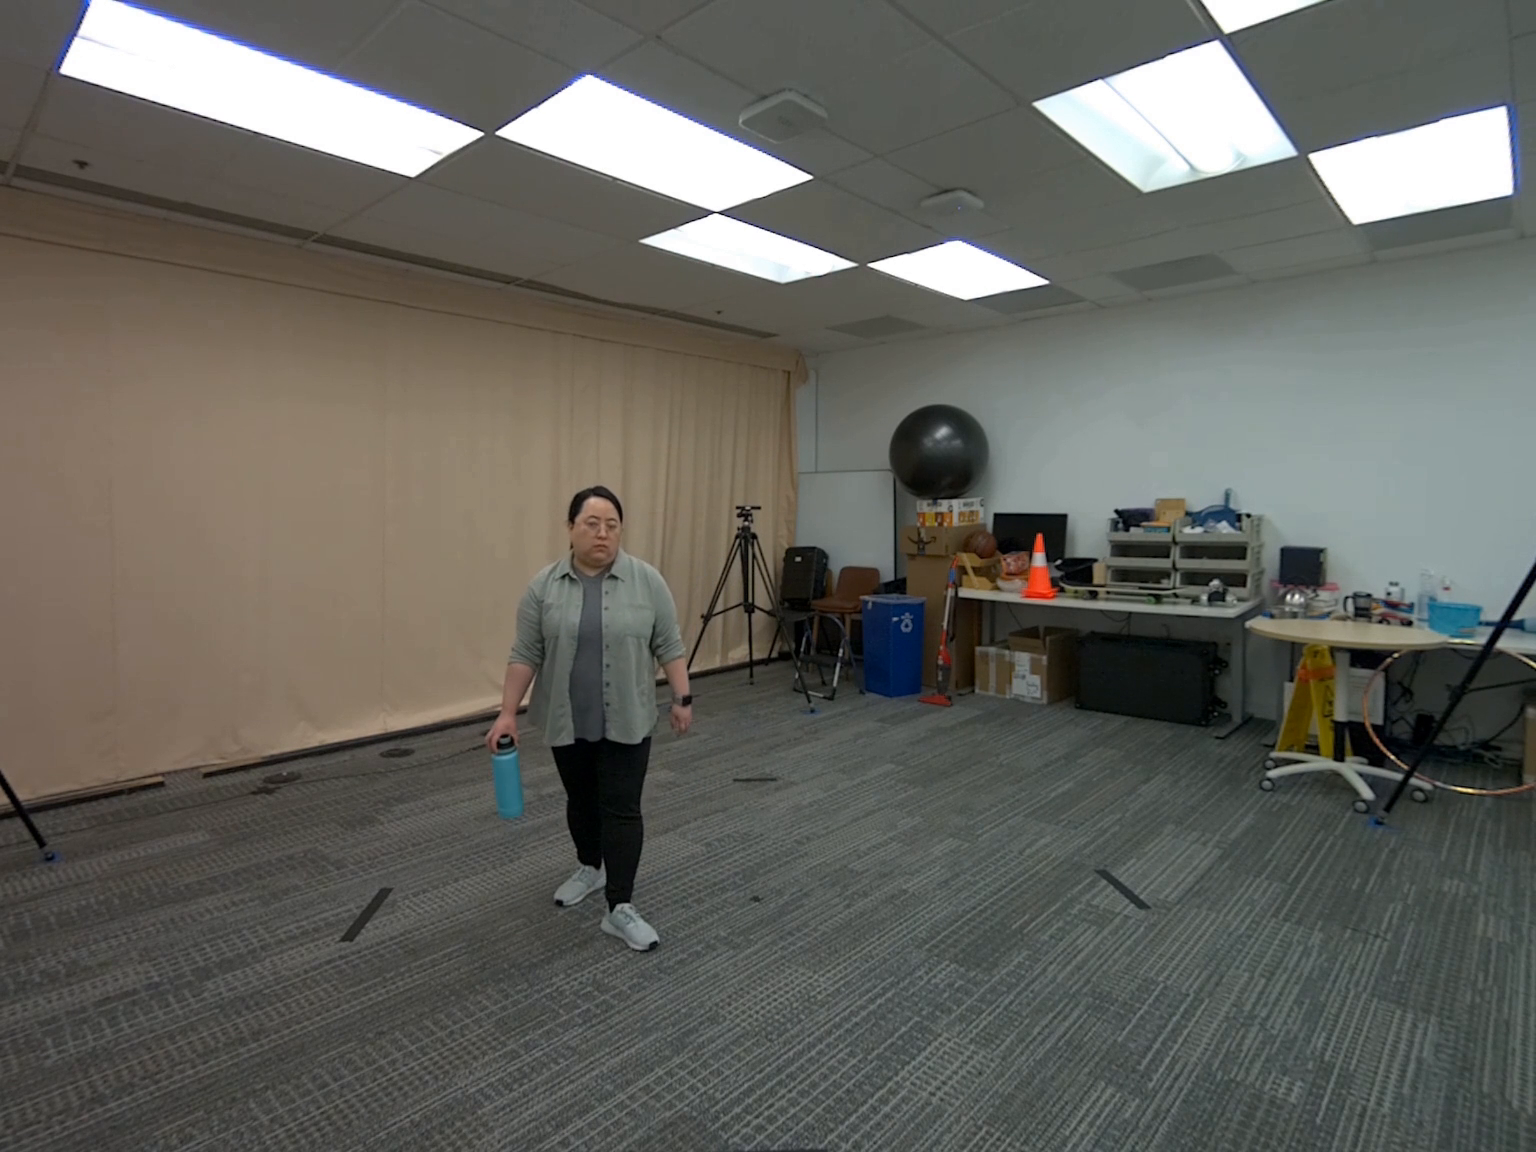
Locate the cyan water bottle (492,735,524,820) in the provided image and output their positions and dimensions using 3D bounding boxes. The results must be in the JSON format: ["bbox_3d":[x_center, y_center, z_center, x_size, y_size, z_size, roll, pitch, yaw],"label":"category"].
[{"bbox_3d":[-0.870,0.659,2.784,0.092,0.281,0.093,-1,10,-2],"label":"cyan water bottle"}]
